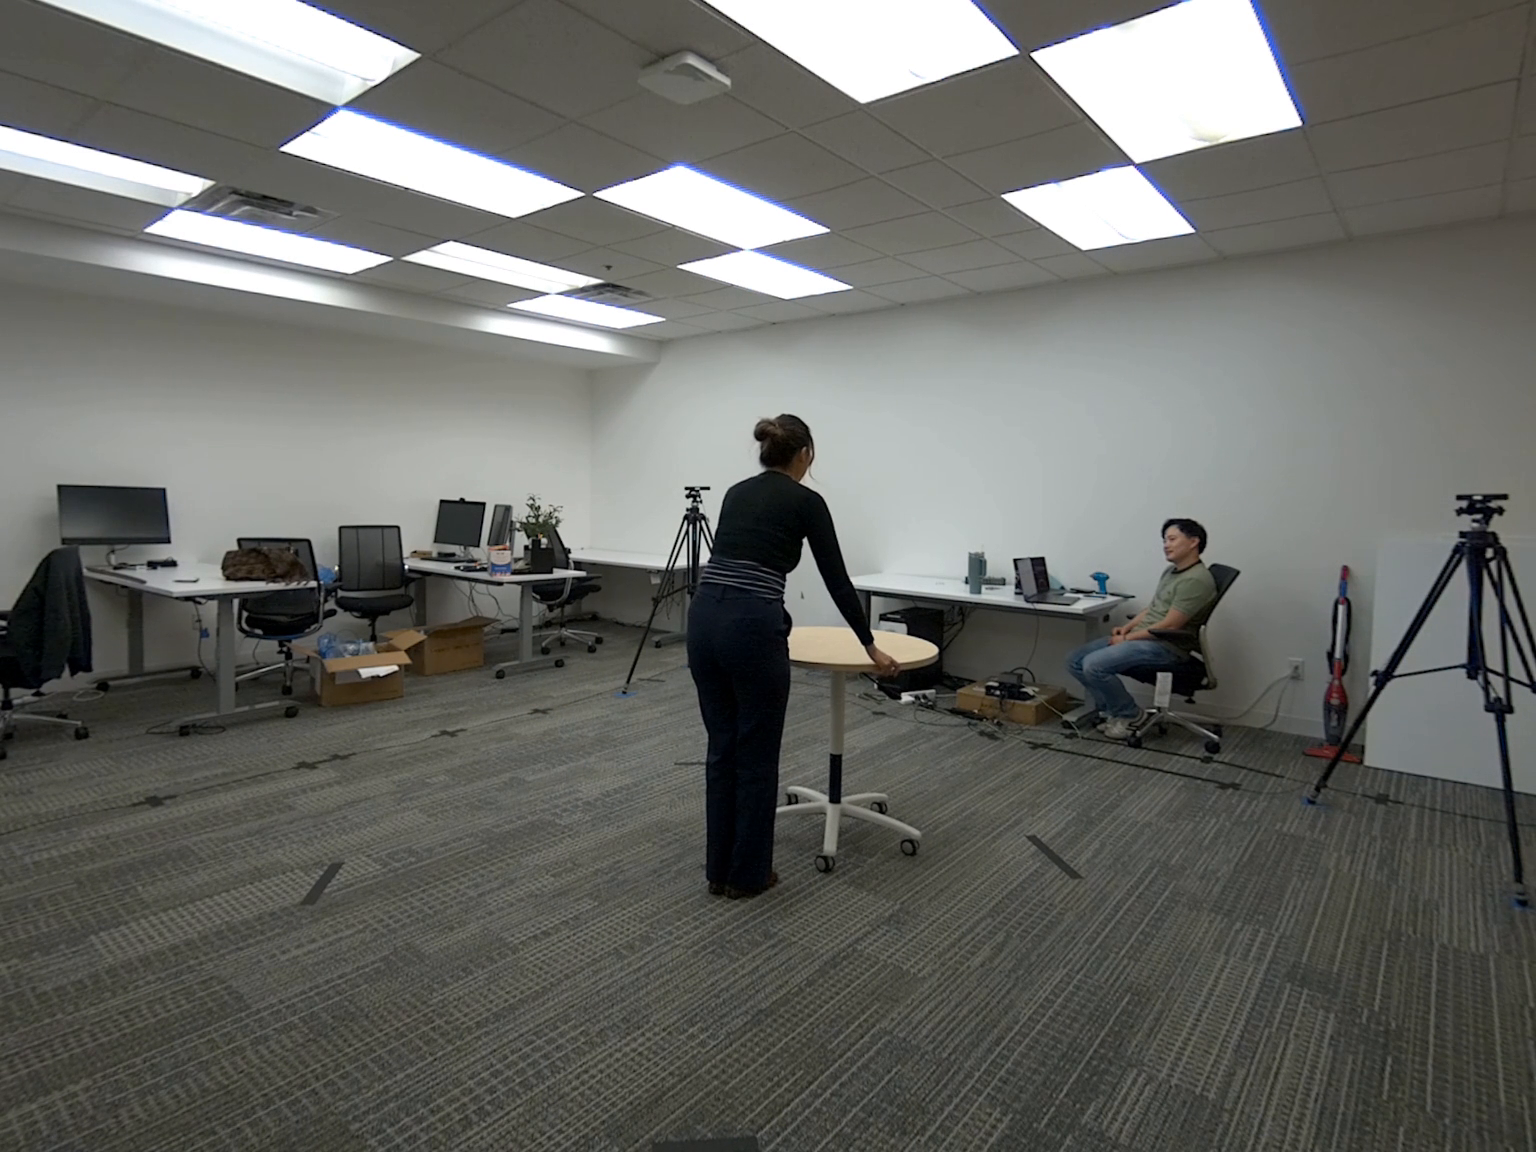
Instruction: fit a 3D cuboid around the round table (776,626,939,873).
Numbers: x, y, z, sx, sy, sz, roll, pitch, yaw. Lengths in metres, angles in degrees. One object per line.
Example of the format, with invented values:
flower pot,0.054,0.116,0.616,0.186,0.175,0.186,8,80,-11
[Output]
round table,0.258,0.655,3.399,0.763,0.791,0.768,1,4,-2
